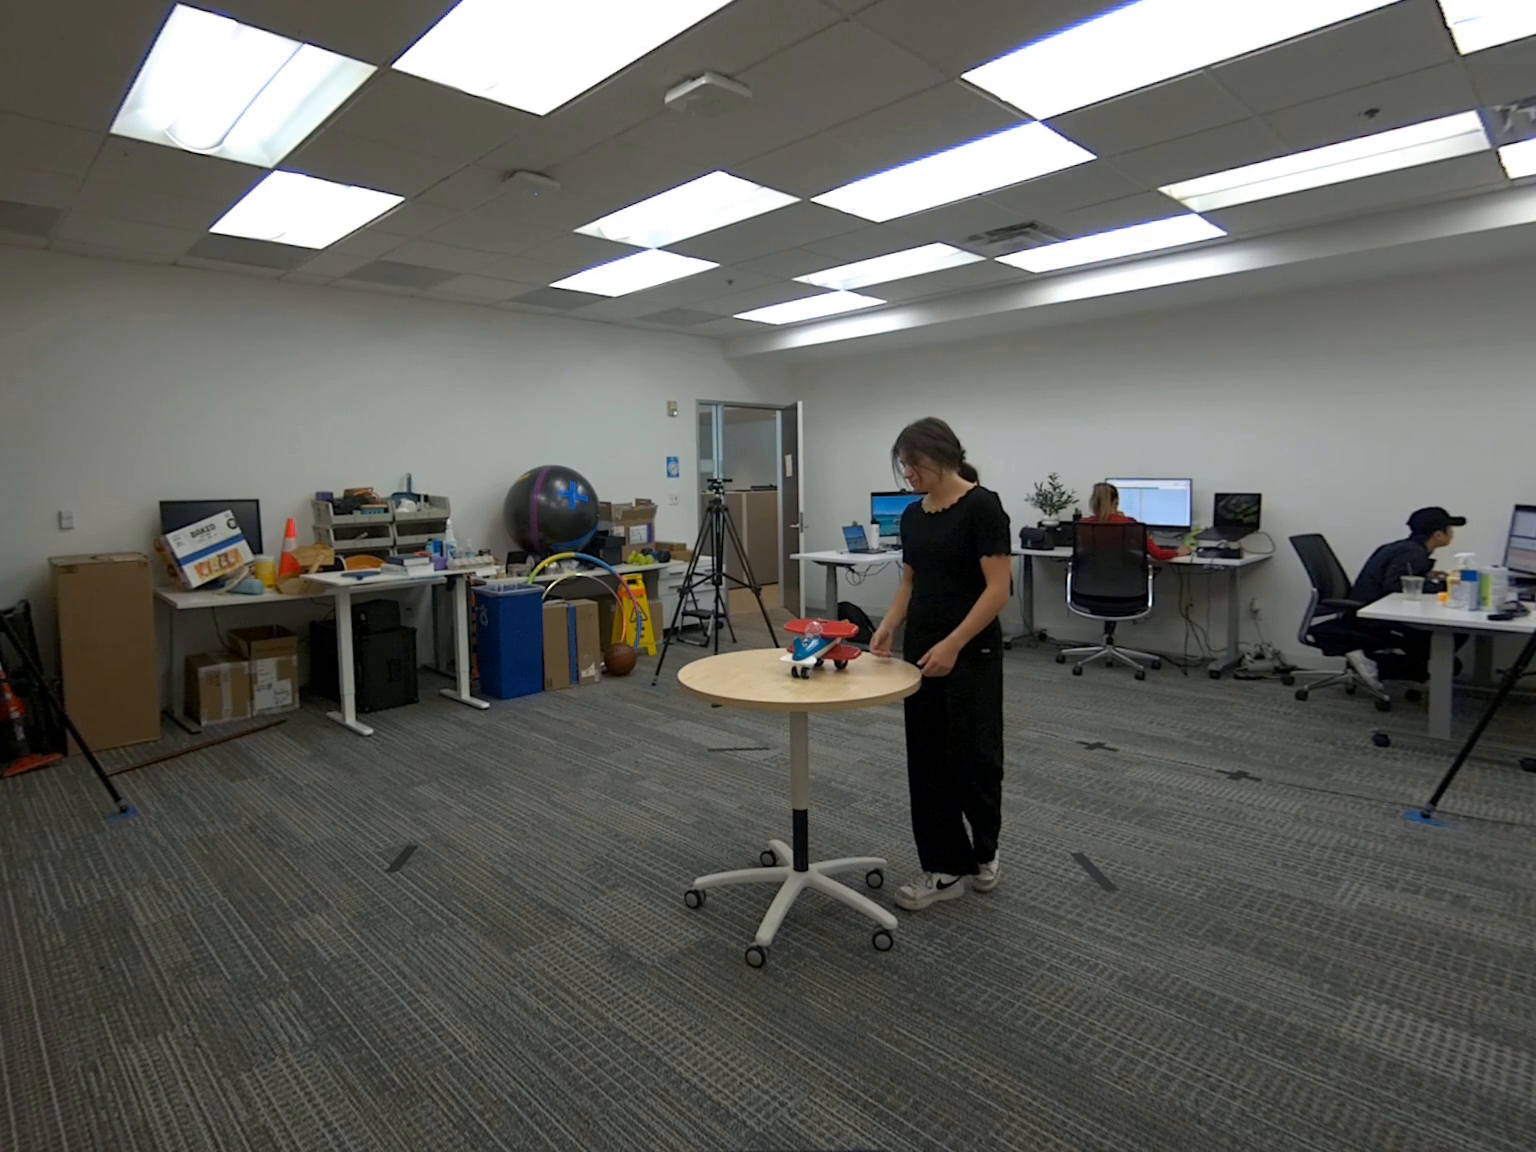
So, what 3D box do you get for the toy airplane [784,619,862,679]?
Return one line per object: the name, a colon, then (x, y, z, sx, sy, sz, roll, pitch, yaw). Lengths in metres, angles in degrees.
toy airplane: (0.176, 0.225, 2.691, 0.253, 0.156, 0.258, -1, 4, 5)
